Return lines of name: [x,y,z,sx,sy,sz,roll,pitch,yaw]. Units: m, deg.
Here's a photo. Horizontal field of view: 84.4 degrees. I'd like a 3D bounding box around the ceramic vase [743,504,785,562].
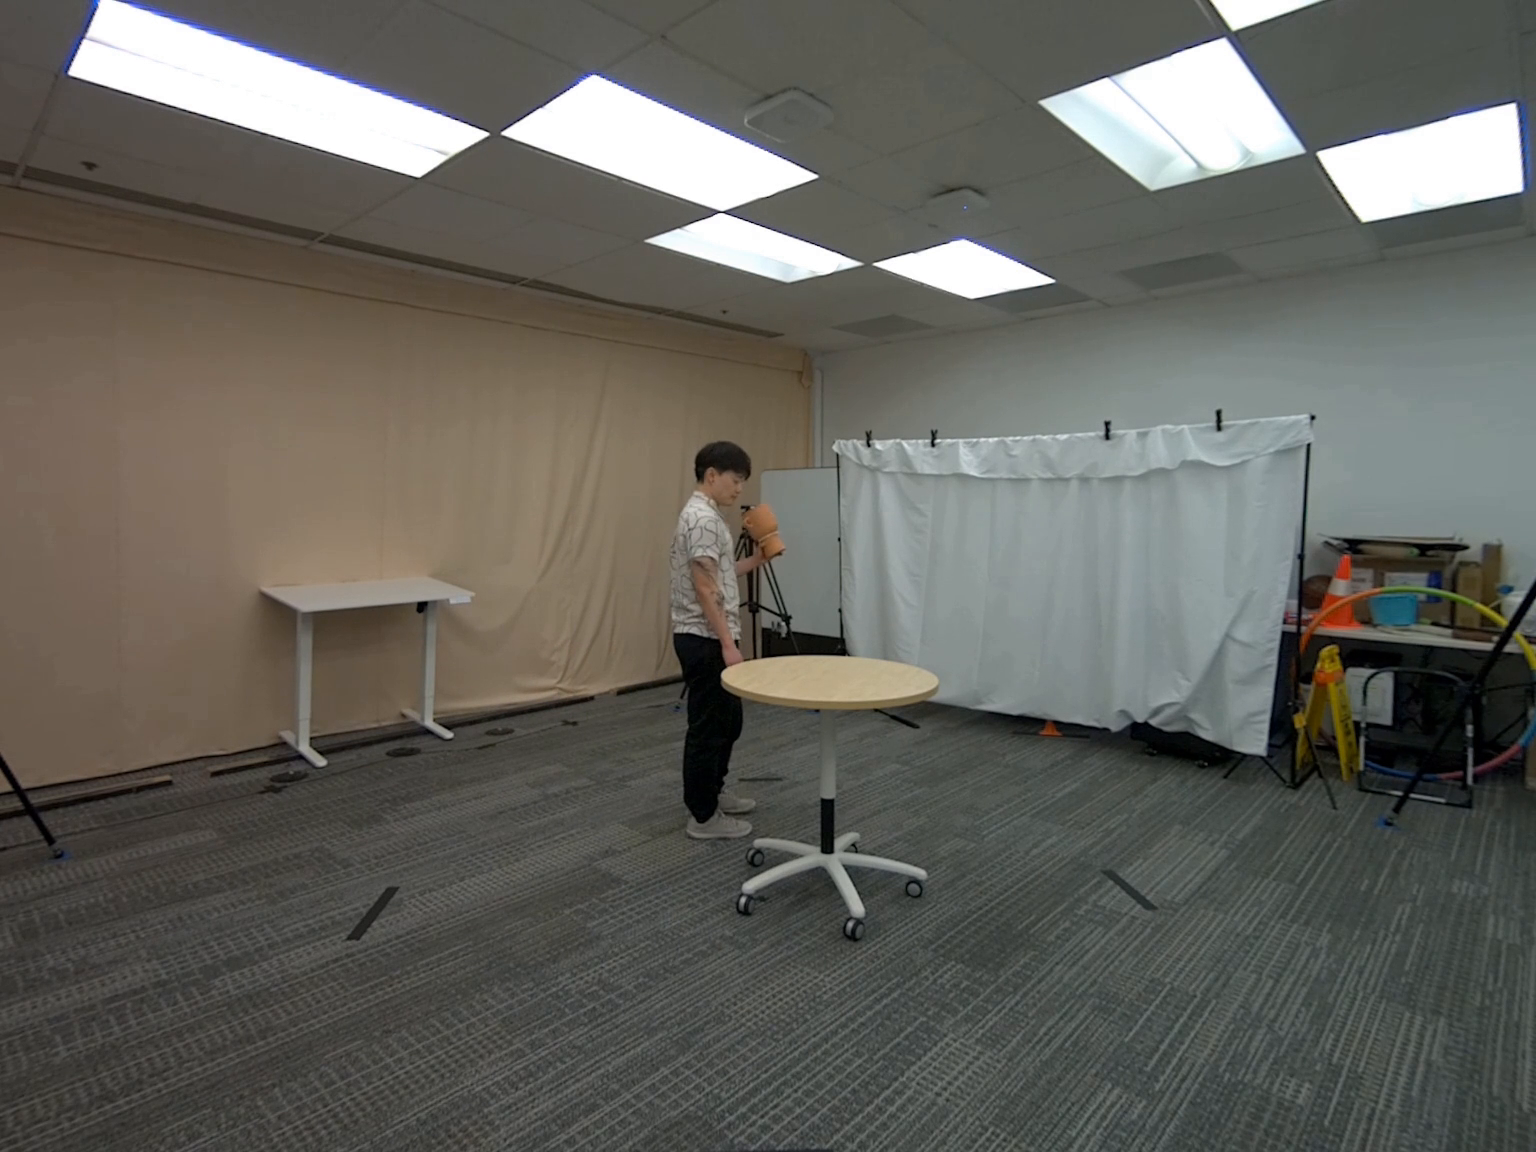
ceramic vase: [-0.013,-0.199,3.730,0.158,0.222,0.134,-25,-9,-4]
